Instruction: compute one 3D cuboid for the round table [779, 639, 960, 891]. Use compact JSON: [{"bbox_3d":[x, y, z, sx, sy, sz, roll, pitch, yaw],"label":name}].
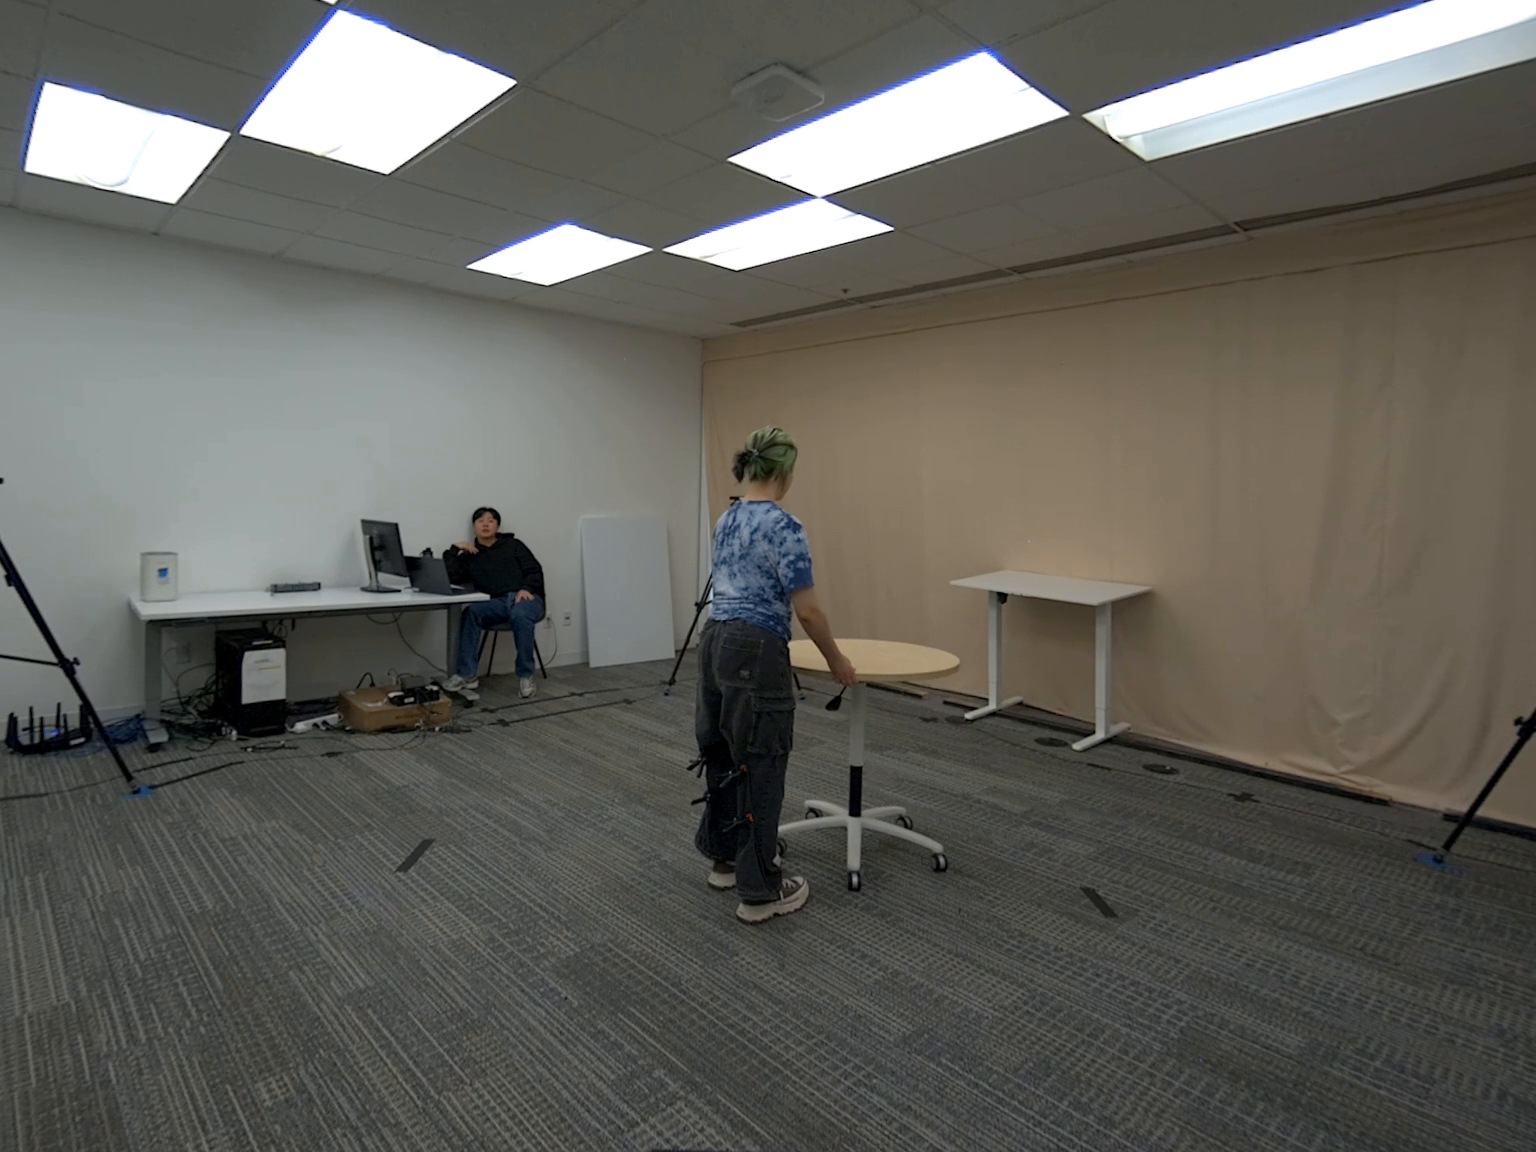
[{"bbox_3d":[0.341,0.703,3.337,0.763,0.792,0.766,1,3,-1],"label":"round table"}]
